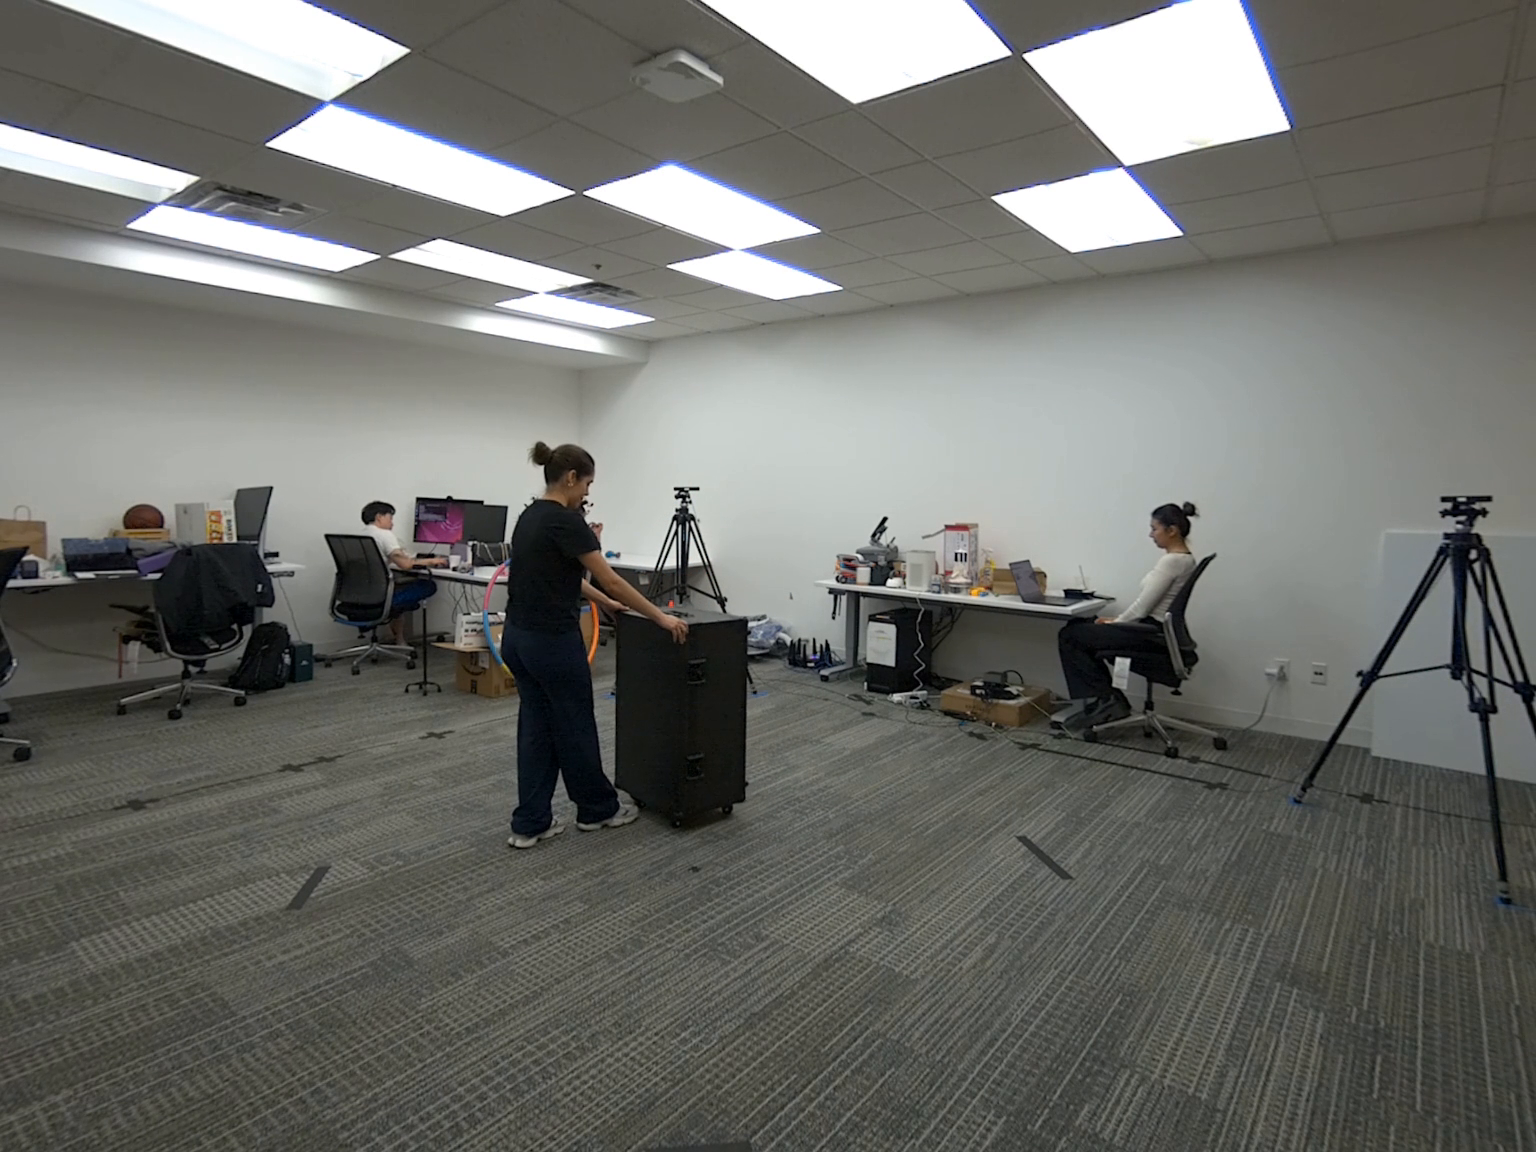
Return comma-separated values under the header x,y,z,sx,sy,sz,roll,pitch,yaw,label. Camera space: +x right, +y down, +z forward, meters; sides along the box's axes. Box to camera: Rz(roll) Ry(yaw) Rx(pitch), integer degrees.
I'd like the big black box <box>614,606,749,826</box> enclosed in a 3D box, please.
x,y,z,sx,sy,sz,roll,pitch,yaw,label
-0.357,0.578,3.679,0.384,0.859,0.539,-1,4,-40,big black box
